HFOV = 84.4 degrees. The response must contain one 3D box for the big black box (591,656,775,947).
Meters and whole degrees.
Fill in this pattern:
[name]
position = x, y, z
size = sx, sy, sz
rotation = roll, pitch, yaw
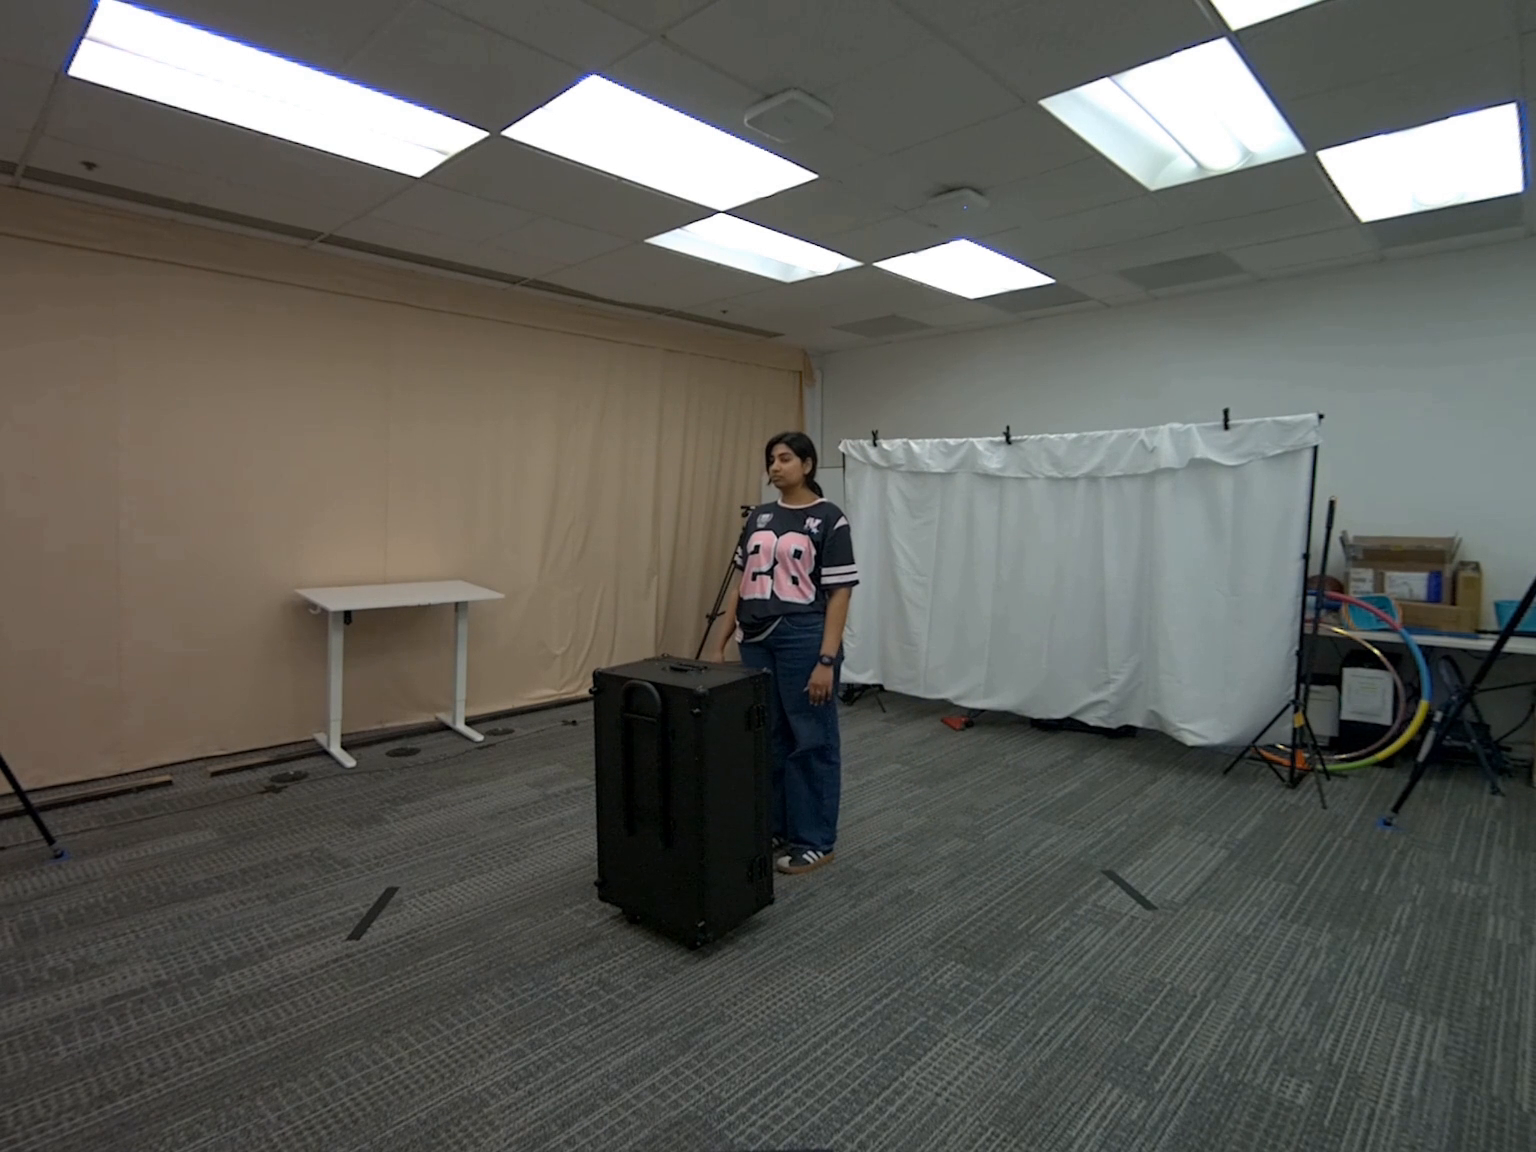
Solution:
[big black box]
position = -0.279, 0.743, 2.789
size = 0.540, 0.866, 0.374
rotation = 2, 5, 38
